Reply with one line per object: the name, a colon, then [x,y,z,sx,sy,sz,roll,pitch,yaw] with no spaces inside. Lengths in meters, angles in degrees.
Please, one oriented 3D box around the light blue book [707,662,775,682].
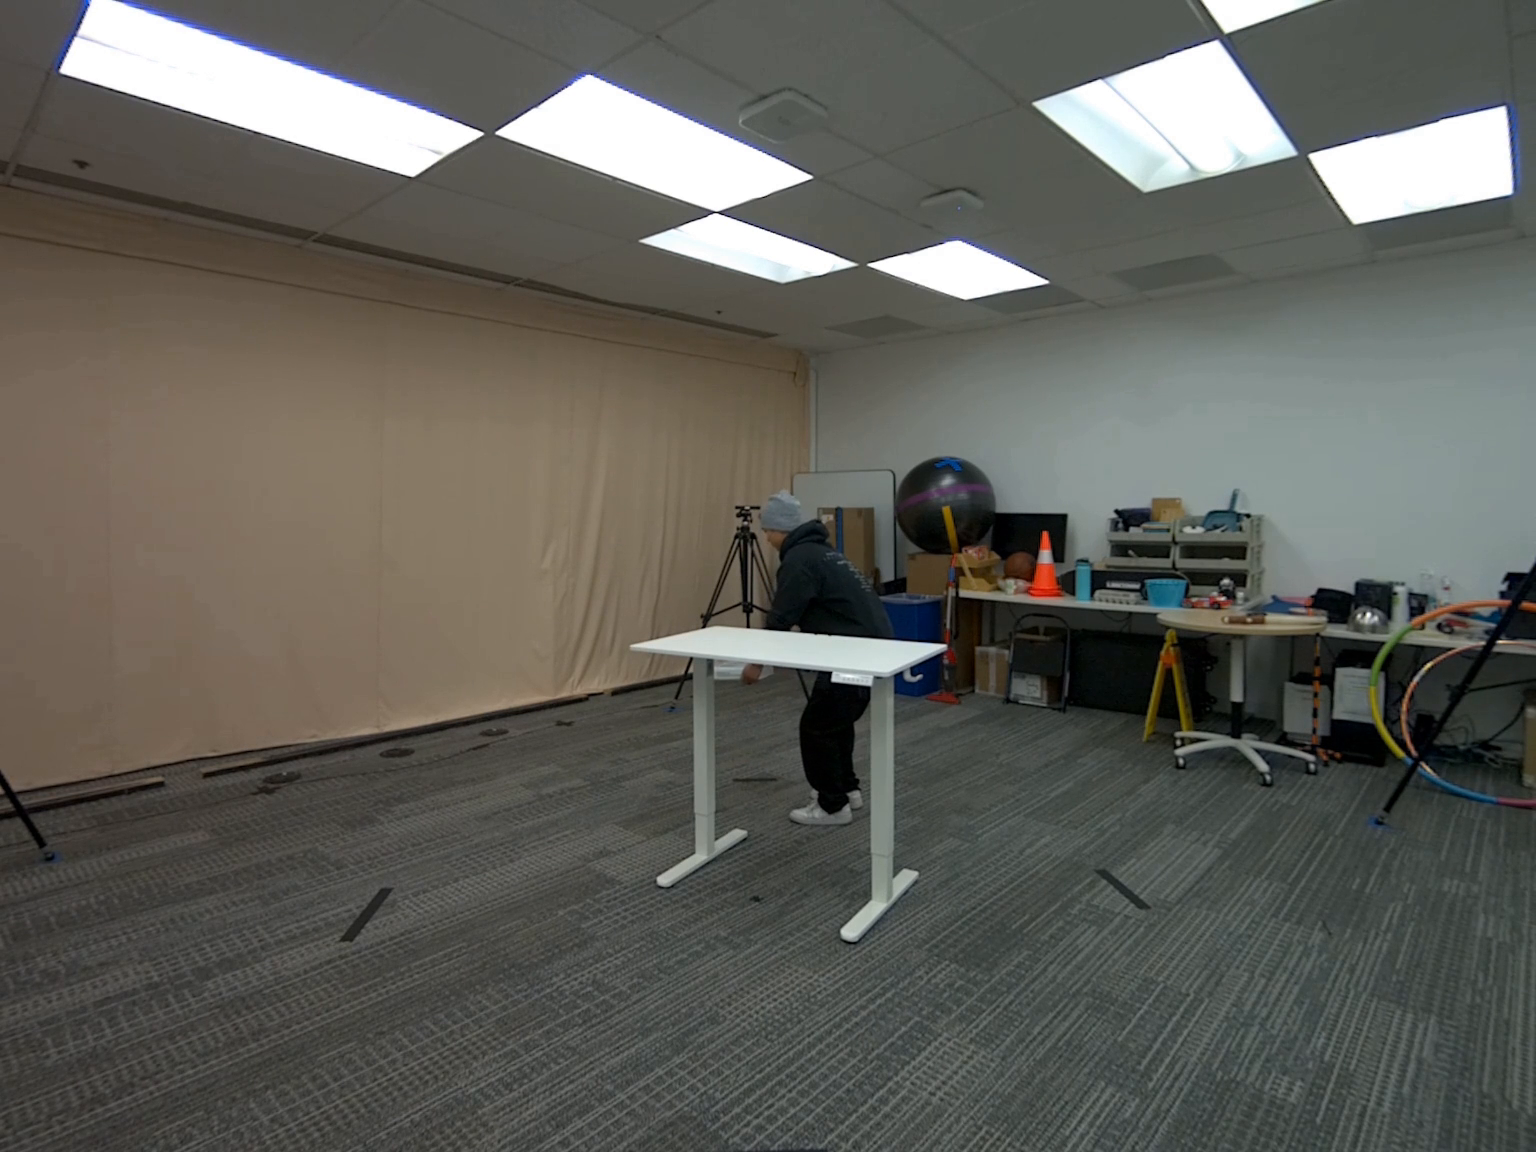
light blue book: [-0.129,0.455,4.050,0.268,0.059,0.187,-3,3,26]
